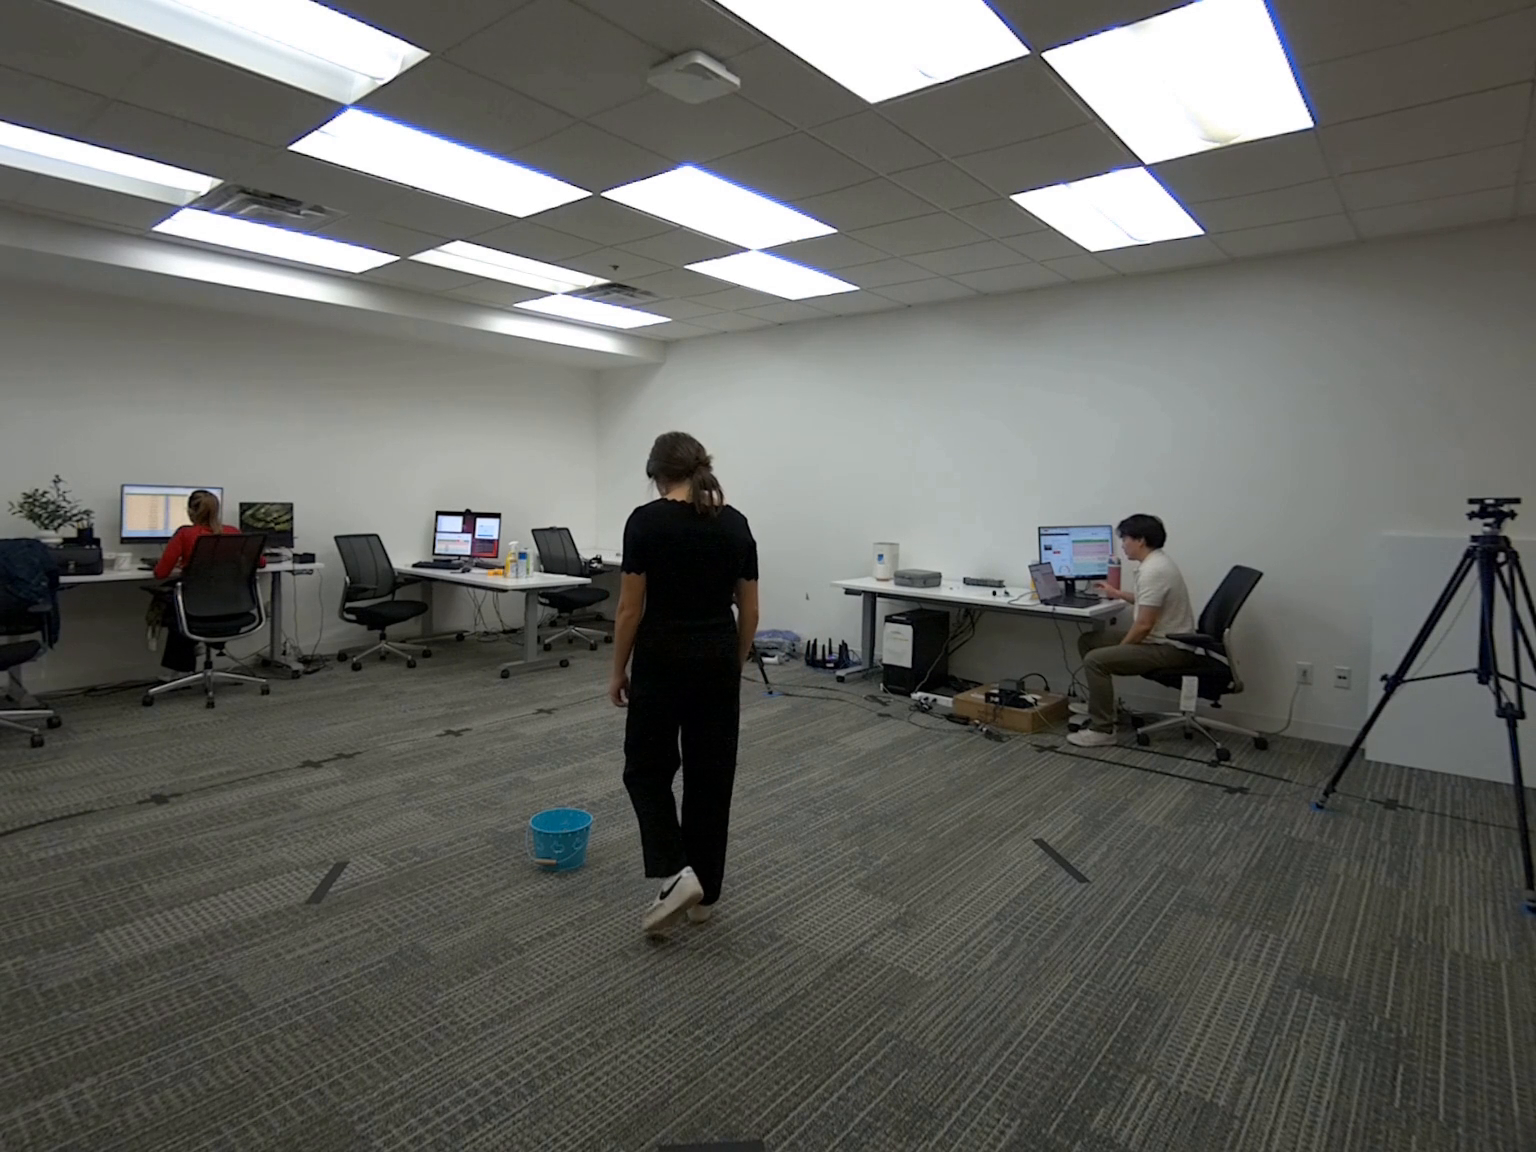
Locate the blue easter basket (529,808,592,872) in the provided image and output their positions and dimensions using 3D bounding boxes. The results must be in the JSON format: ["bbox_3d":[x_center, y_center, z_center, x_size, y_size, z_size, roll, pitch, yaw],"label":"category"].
[{"bbox_3d":[-0.784,0.973,3.148,0.243,0.155,0.245,1,5,-2],"label":"blue easter basket"}]
